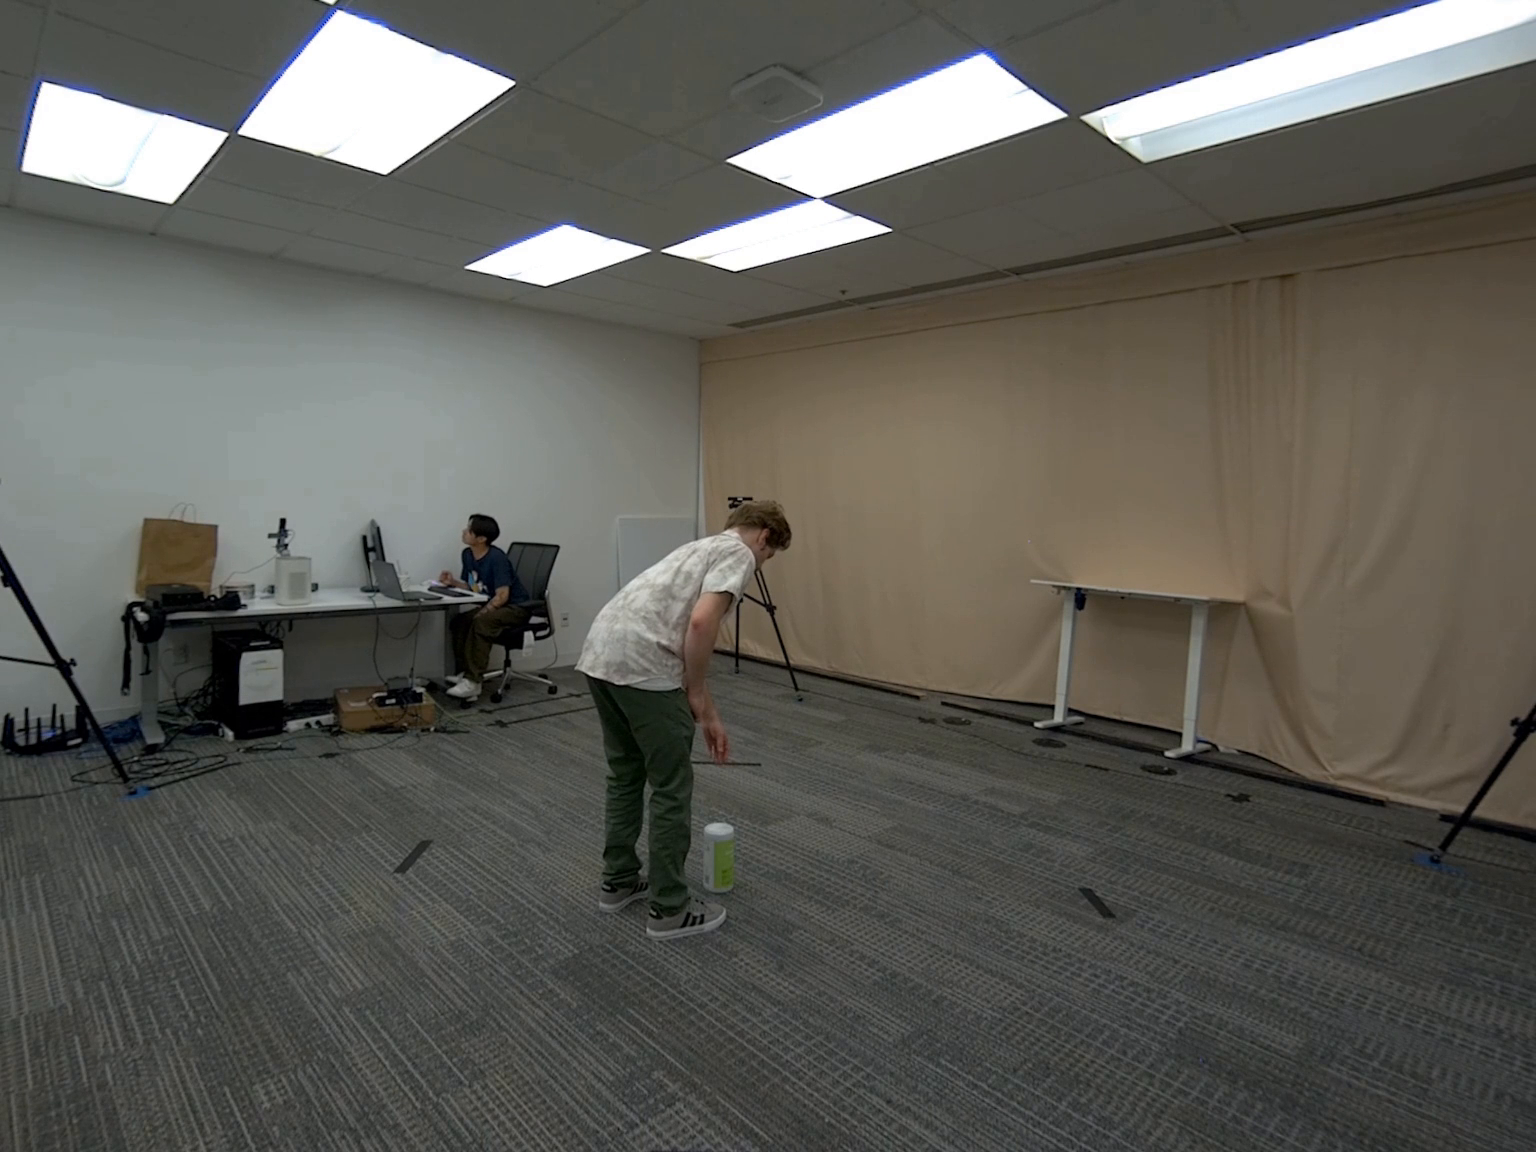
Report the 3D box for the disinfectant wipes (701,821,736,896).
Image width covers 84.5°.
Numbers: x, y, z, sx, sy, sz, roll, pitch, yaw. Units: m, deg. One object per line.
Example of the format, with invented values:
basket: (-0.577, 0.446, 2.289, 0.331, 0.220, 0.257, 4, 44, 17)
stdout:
disinfectant wipes: (-0.183, 1.010, 3.008, 0.118, 0.217, 0.118, 1, 3, -1)
